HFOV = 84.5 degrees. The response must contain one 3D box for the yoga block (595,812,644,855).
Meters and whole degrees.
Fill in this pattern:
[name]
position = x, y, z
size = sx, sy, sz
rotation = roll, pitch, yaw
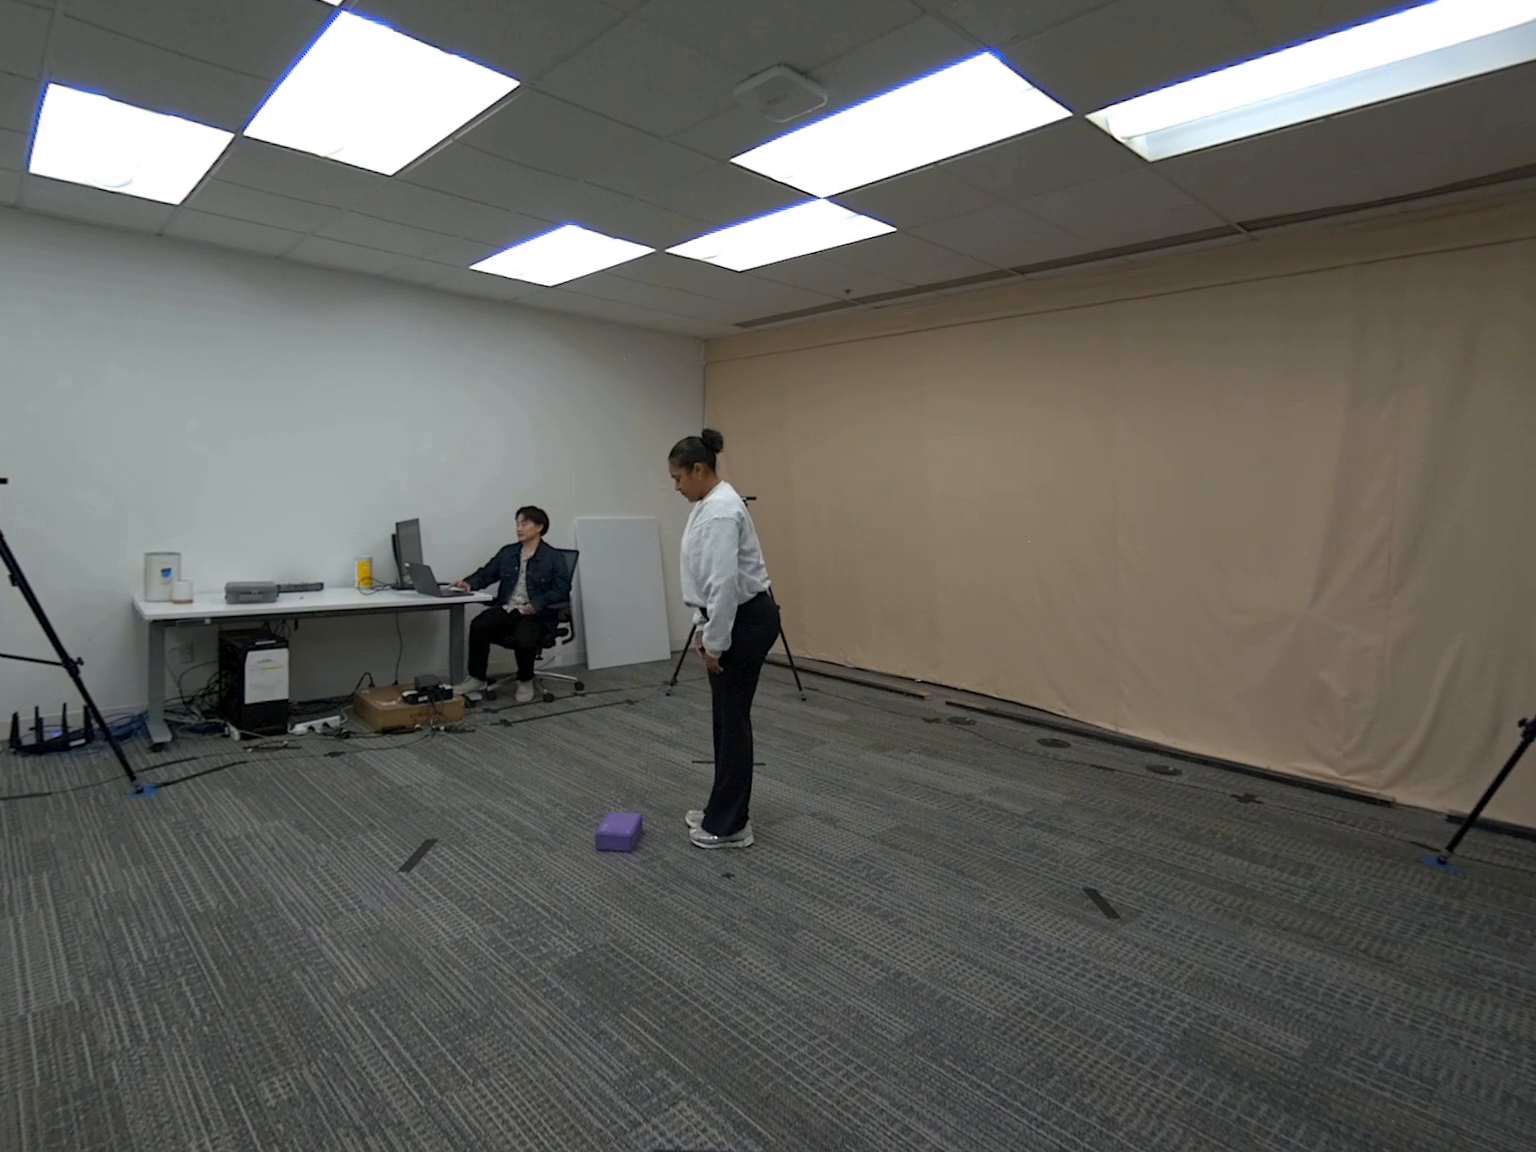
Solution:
[yoga block]
position = -0.608, 1.032, 3.398
size = 0.149, 0.076, 0.229
rotation = 2, 5, 4
